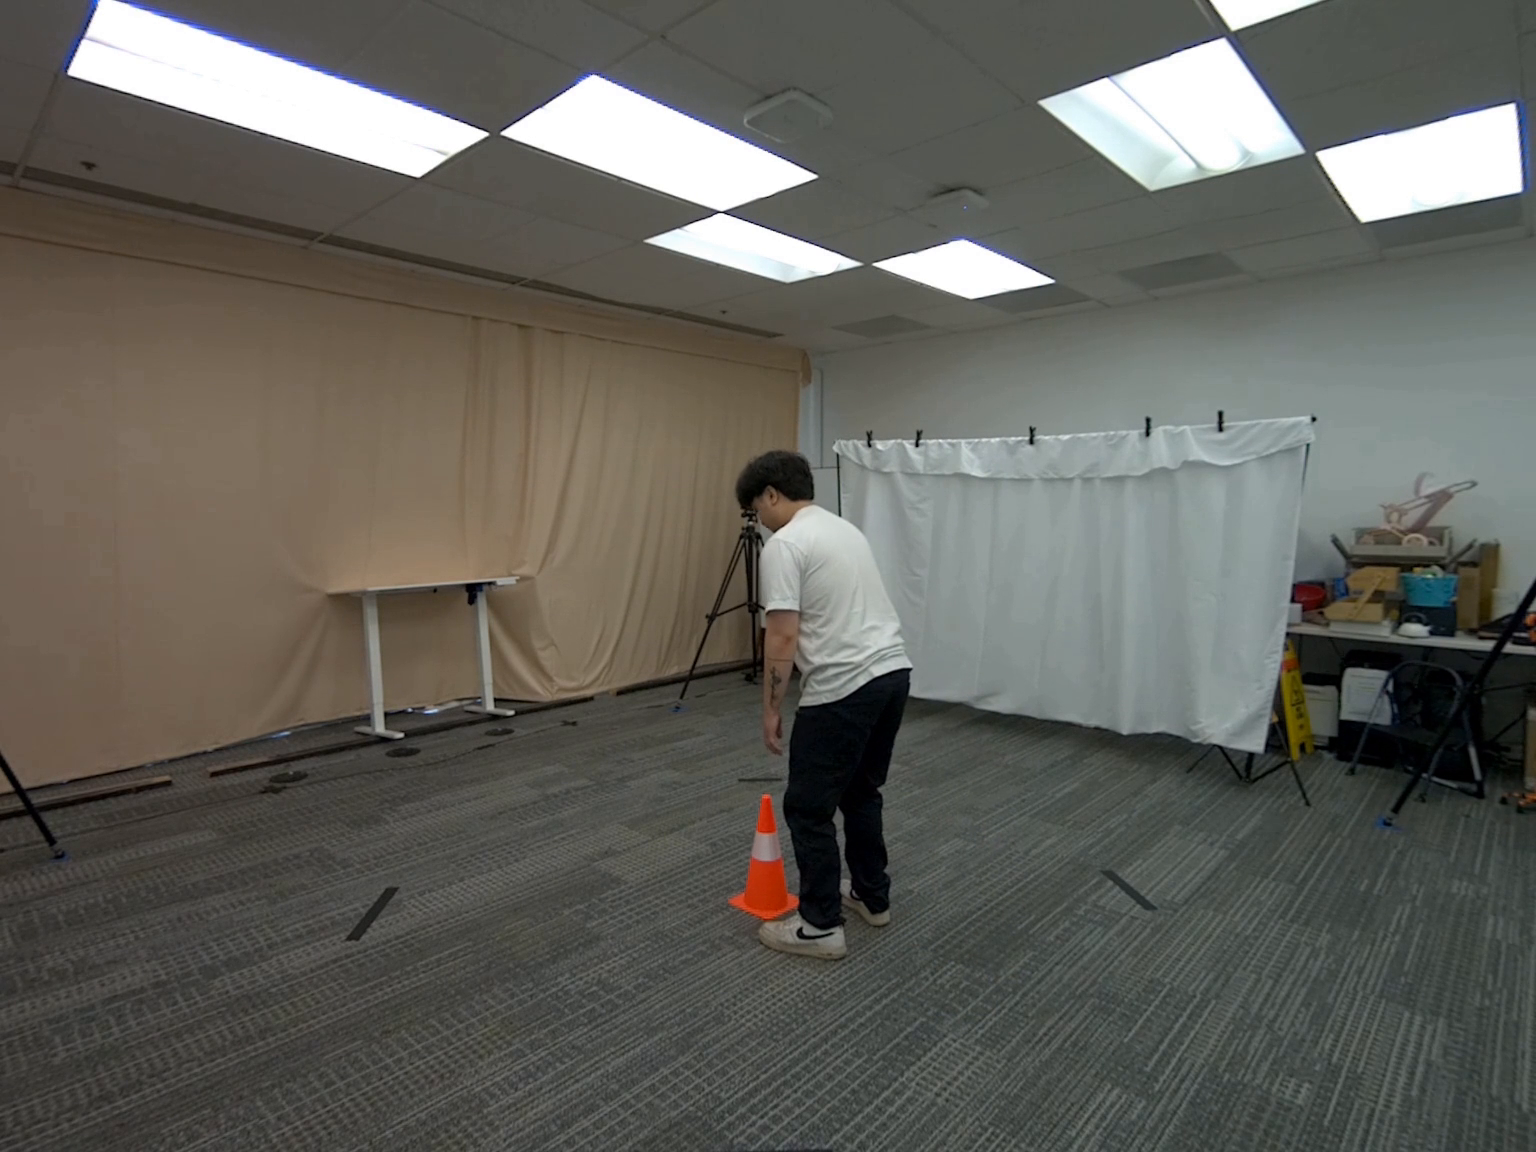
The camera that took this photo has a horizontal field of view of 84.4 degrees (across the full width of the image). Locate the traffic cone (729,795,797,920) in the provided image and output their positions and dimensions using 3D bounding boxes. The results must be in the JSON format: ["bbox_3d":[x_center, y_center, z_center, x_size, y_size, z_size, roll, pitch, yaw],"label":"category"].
[{"bbox_3d":[-0.006,0.964,2.951,0.210,0.383,0.199,2,5,36],"label":"traffic cone"}]
